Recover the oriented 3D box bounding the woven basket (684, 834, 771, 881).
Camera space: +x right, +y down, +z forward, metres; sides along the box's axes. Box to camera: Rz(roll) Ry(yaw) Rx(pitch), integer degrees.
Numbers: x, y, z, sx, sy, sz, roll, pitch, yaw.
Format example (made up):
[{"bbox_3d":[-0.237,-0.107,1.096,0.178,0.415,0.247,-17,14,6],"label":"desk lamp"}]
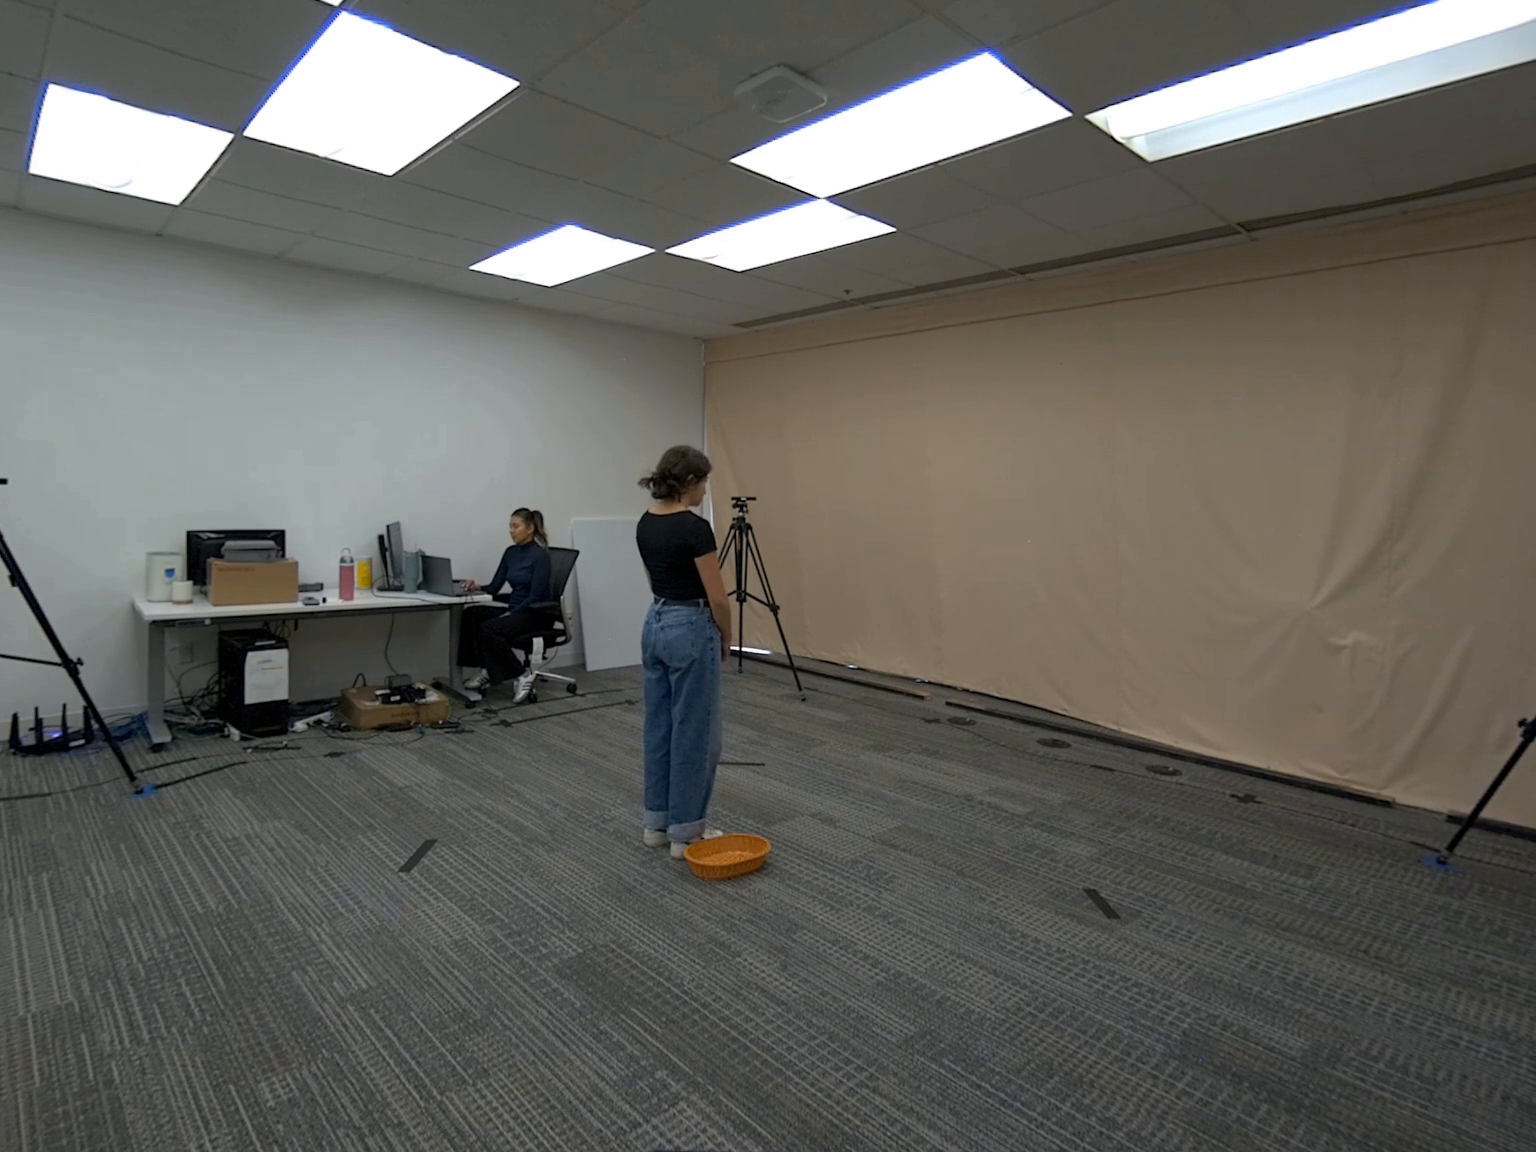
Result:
[{"bbox_3d":[-0.160,1.061,3.181,0.343,0.073,0.258,-3,5,-31],"label":"woven basket"}]
